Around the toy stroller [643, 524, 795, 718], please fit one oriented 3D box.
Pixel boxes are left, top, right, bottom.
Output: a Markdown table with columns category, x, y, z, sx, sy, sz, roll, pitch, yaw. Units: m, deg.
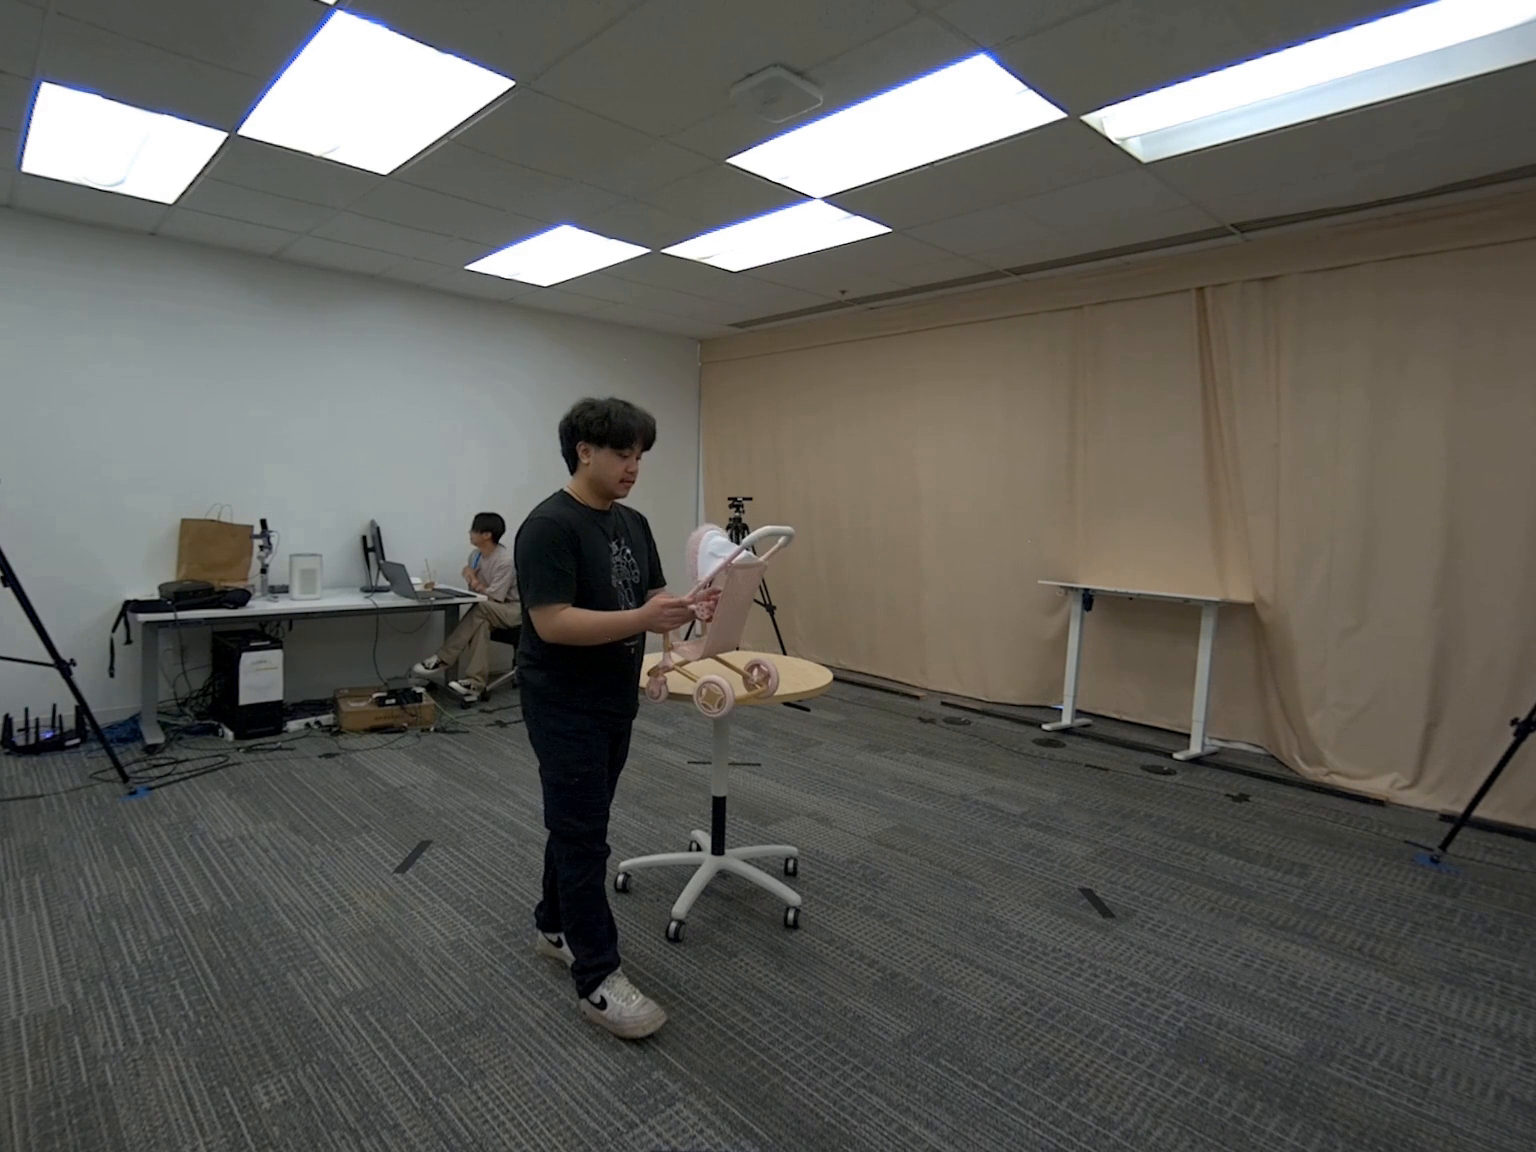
| category | x | y | z | sx | sy | sz | roll | pitch | yaw |
| --- | --- | --- | --- | --- | --- | --- | --- | --- | --- |
| toy stroller | -0.151 | 0.109 | 2.161 | 0.350 | 0.532 | 0.276 | 13 | 9 | 31 |
